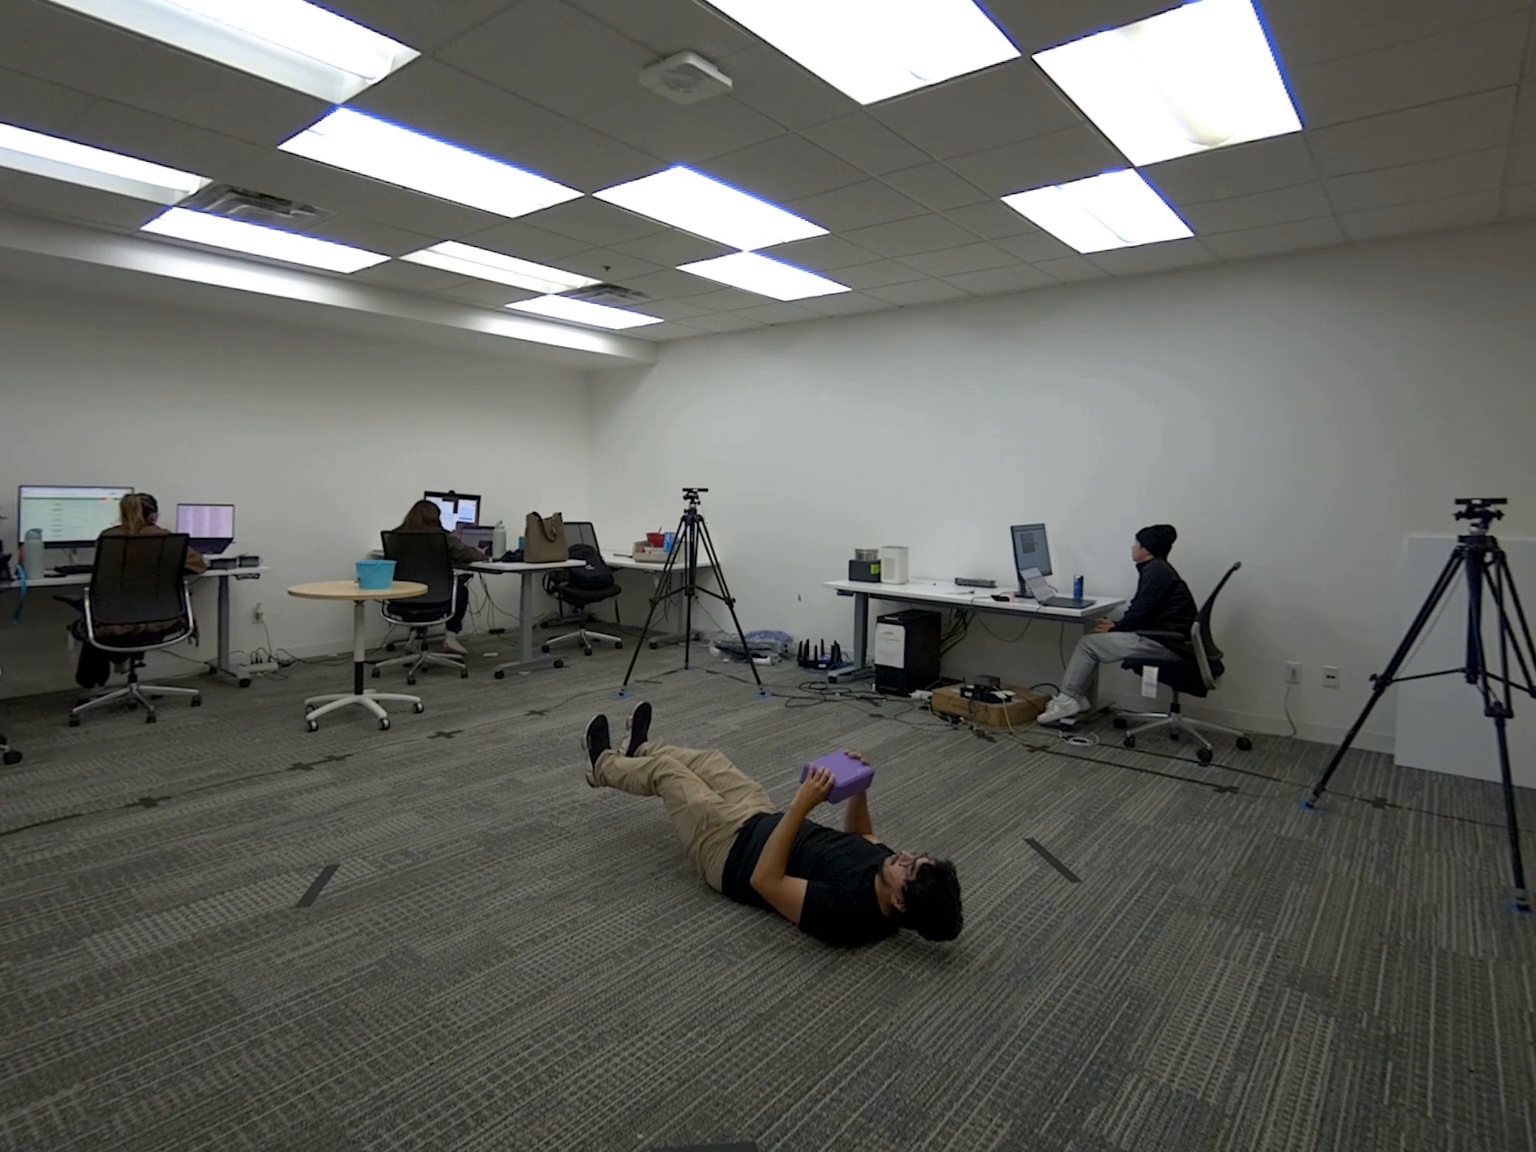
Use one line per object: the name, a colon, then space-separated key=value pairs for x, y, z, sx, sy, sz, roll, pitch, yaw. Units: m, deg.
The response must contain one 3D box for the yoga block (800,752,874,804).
yoga block: x=0.227 y=0.661 z=2.815 sx=0.155 sy=0.076 sz=0.222 roll=23 pitch=17 yaw=37
